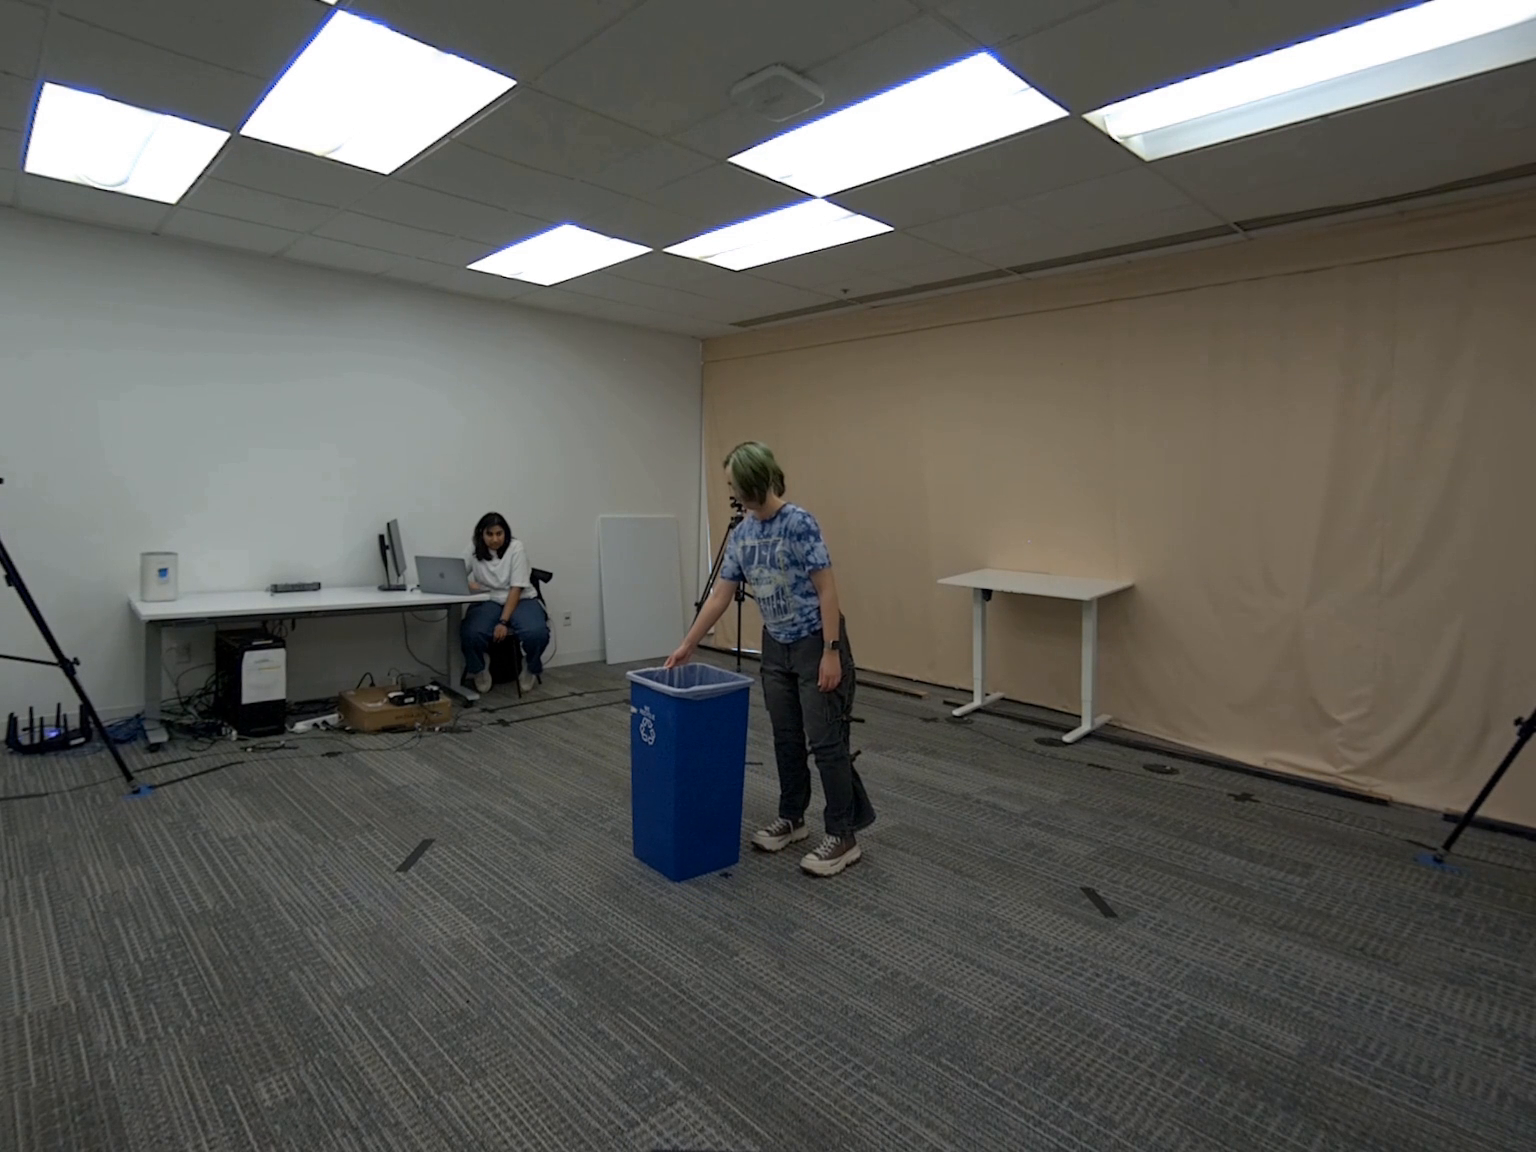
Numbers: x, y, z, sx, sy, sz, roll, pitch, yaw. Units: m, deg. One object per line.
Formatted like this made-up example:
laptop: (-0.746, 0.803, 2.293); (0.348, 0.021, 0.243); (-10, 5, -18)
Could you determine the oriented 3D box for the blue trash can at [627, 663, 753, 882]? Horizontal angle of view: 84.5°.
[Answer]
blue trash can: (-0.310, 0.734, 3.210); (0.369, 0.712, 0.383); (-2, 5, -40)
